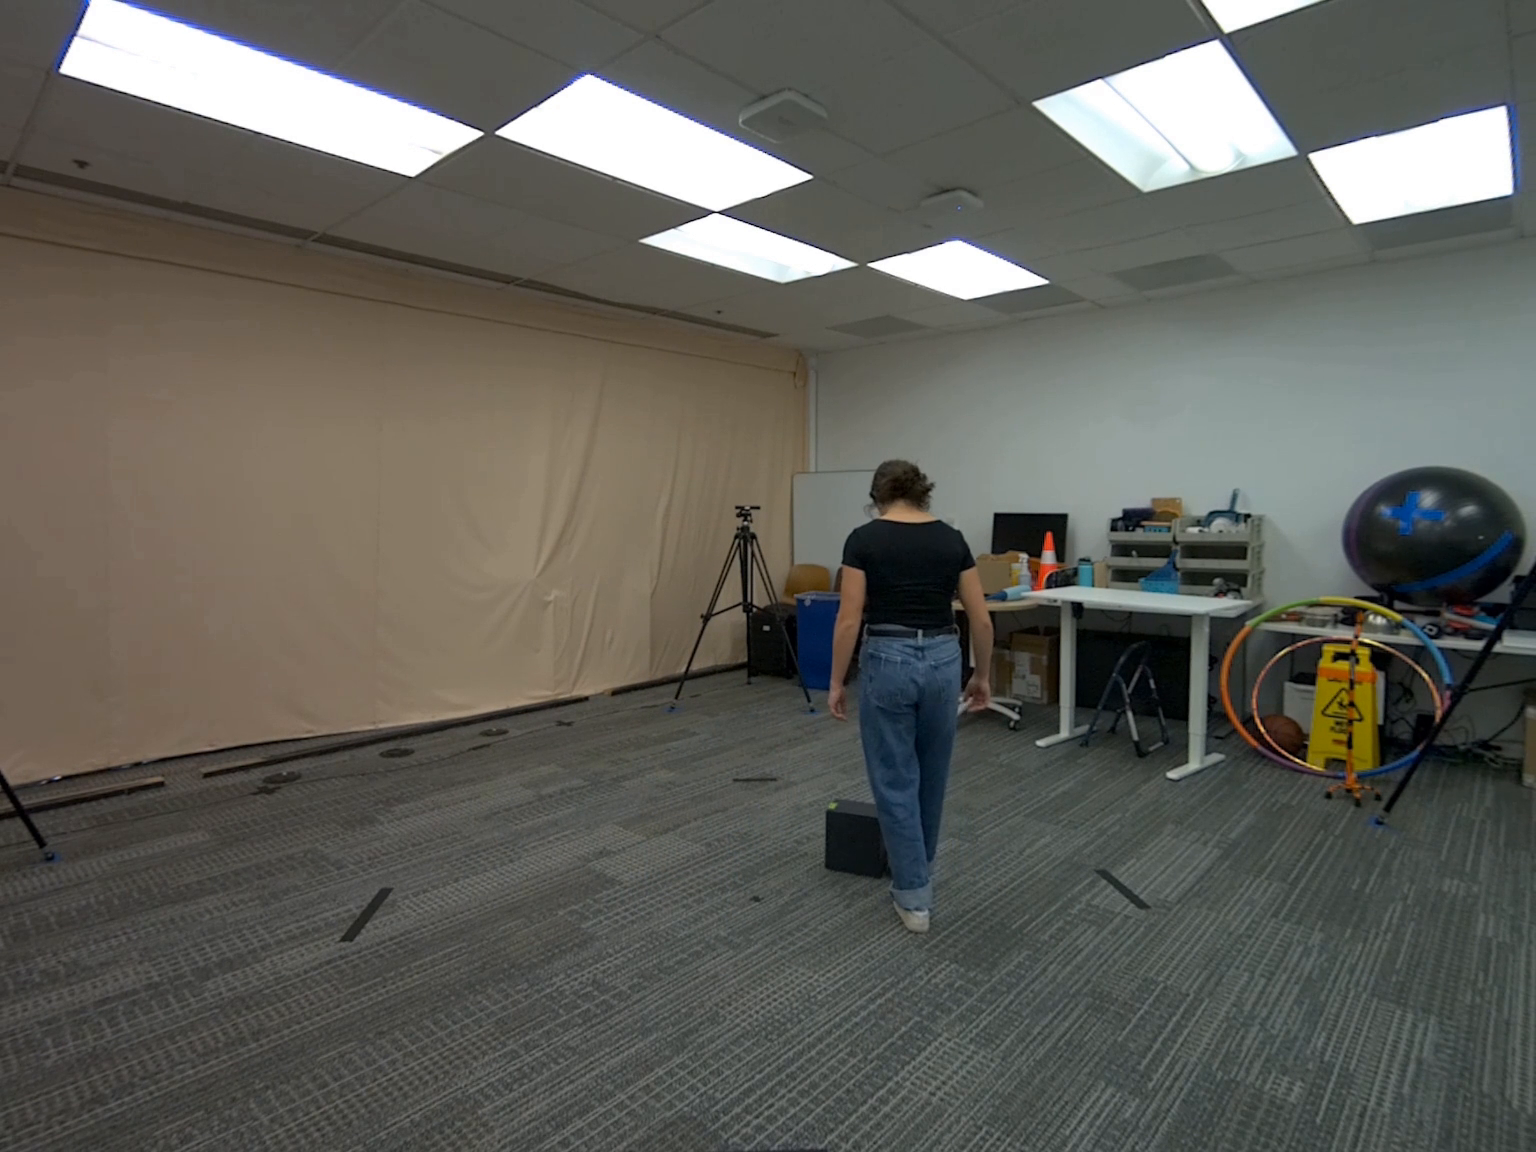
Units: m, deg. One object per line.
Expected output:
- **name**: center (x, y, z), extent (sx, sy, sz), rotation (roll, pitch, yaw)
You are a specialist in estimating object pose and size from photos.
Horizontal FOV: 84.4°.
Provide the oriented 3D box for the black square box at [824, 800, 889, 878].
- **black square box**: center (0.343, 1.000, 3.245), extent (0.222, 0.227, 0.152), rotation (1, 3, 22)
